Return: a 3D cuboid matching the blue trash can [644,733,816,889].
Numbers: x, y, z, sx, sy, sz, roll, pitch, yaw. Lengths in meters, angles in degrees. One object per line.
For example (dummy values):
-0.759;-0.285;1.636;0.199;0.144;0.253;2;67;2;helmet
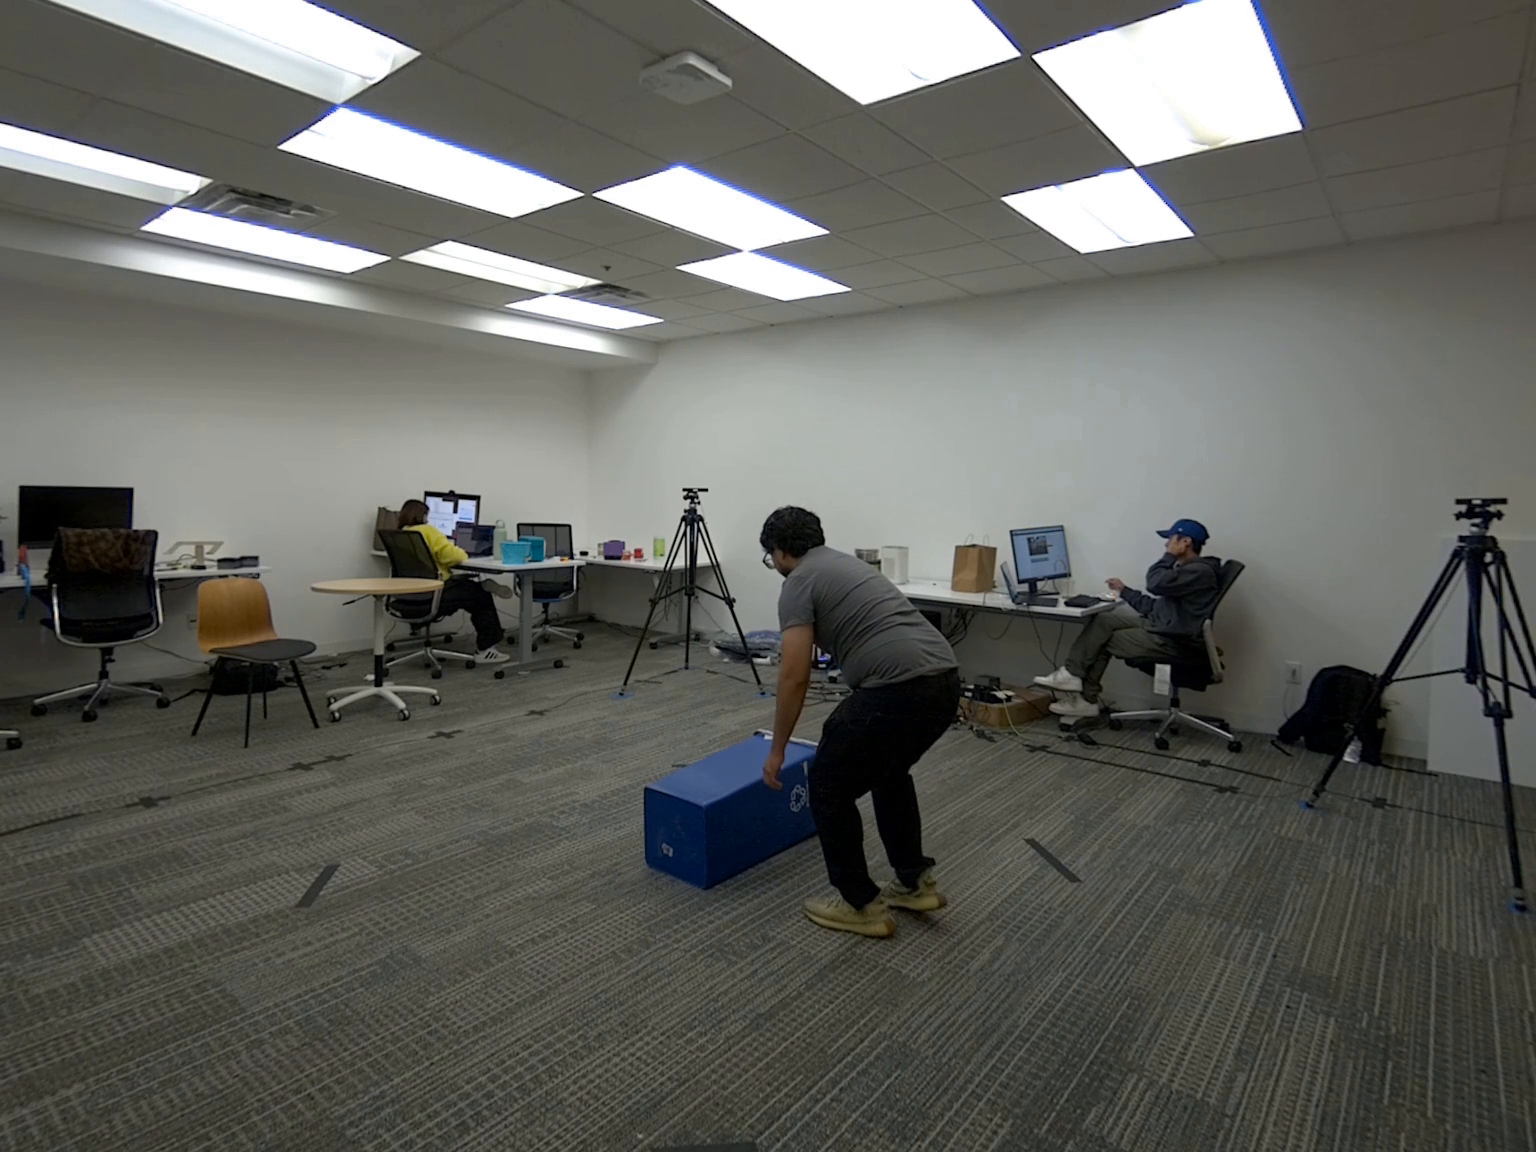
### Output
-0.138;0.882;3.296;0.387;0.376;0.693;6;8;39;blue trash can
